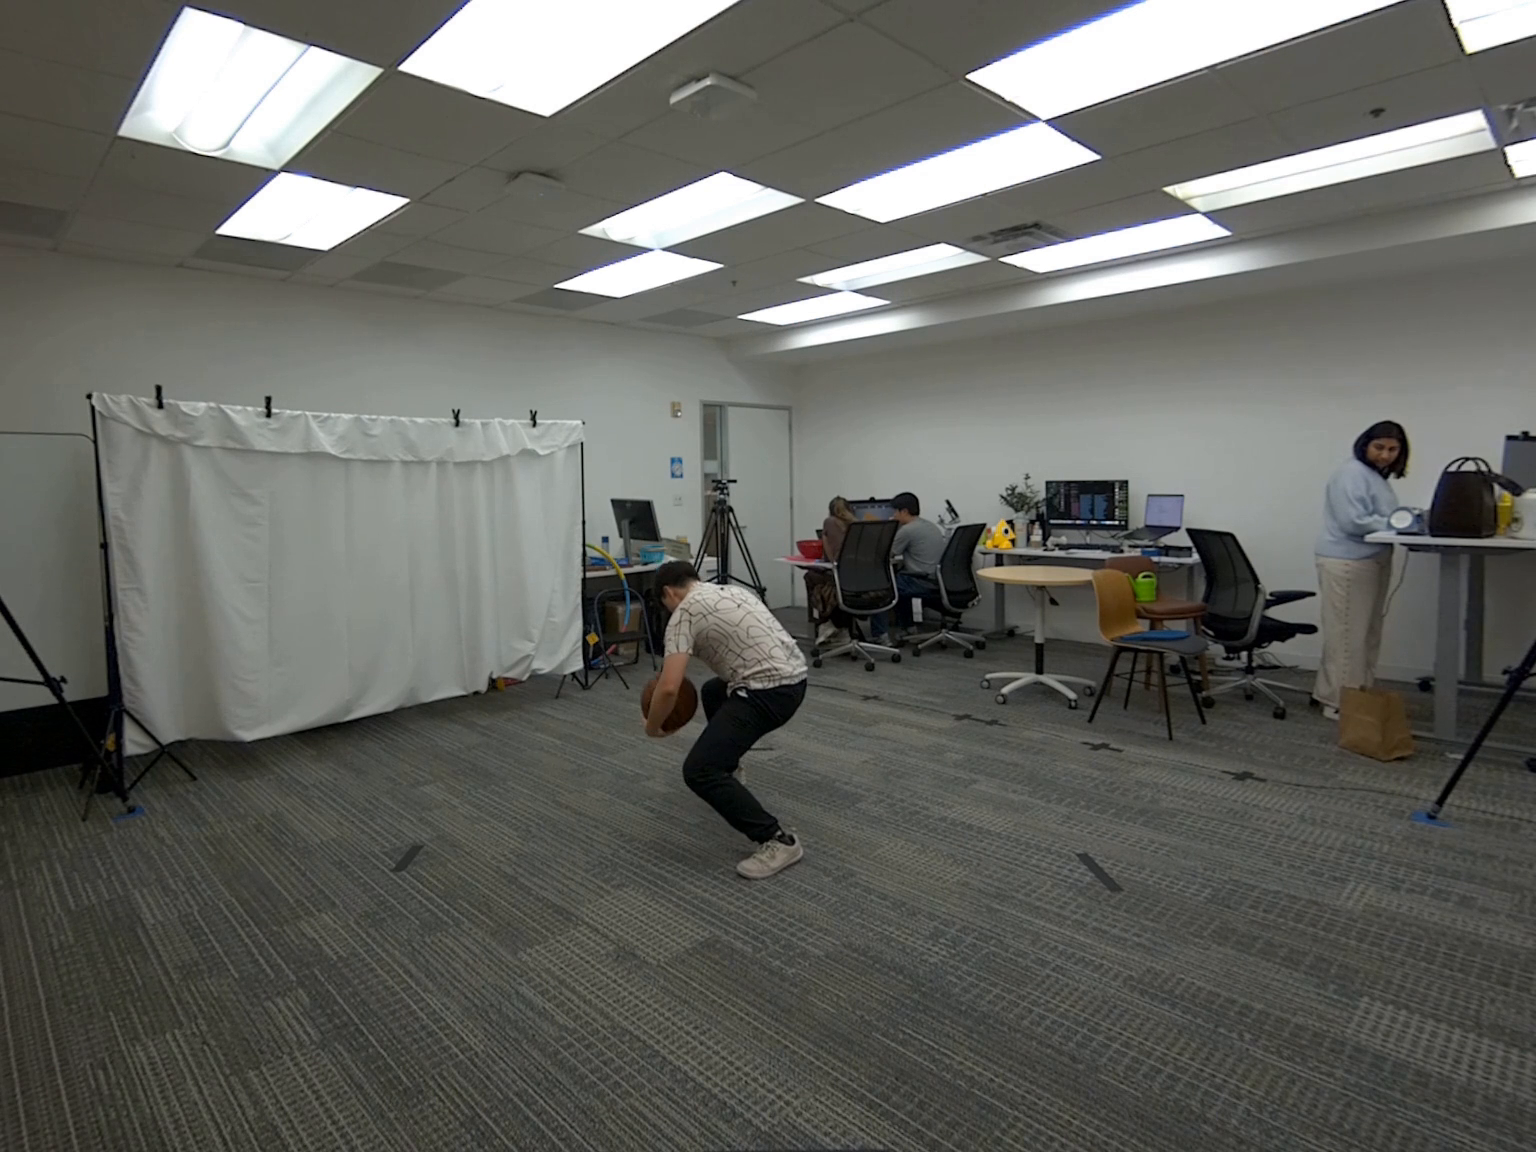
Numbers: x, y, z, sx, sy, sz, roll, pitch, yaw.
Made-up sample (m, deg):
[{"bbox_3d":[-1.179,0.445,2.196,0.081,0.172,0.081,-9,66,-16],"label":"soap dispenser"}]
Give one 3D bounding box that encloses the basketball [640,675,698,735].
[{"bbox_3d":[-0.405,0.511,3.554,0.236,0.235,0.237,-1,5,-2],"label":"basketball"}]
